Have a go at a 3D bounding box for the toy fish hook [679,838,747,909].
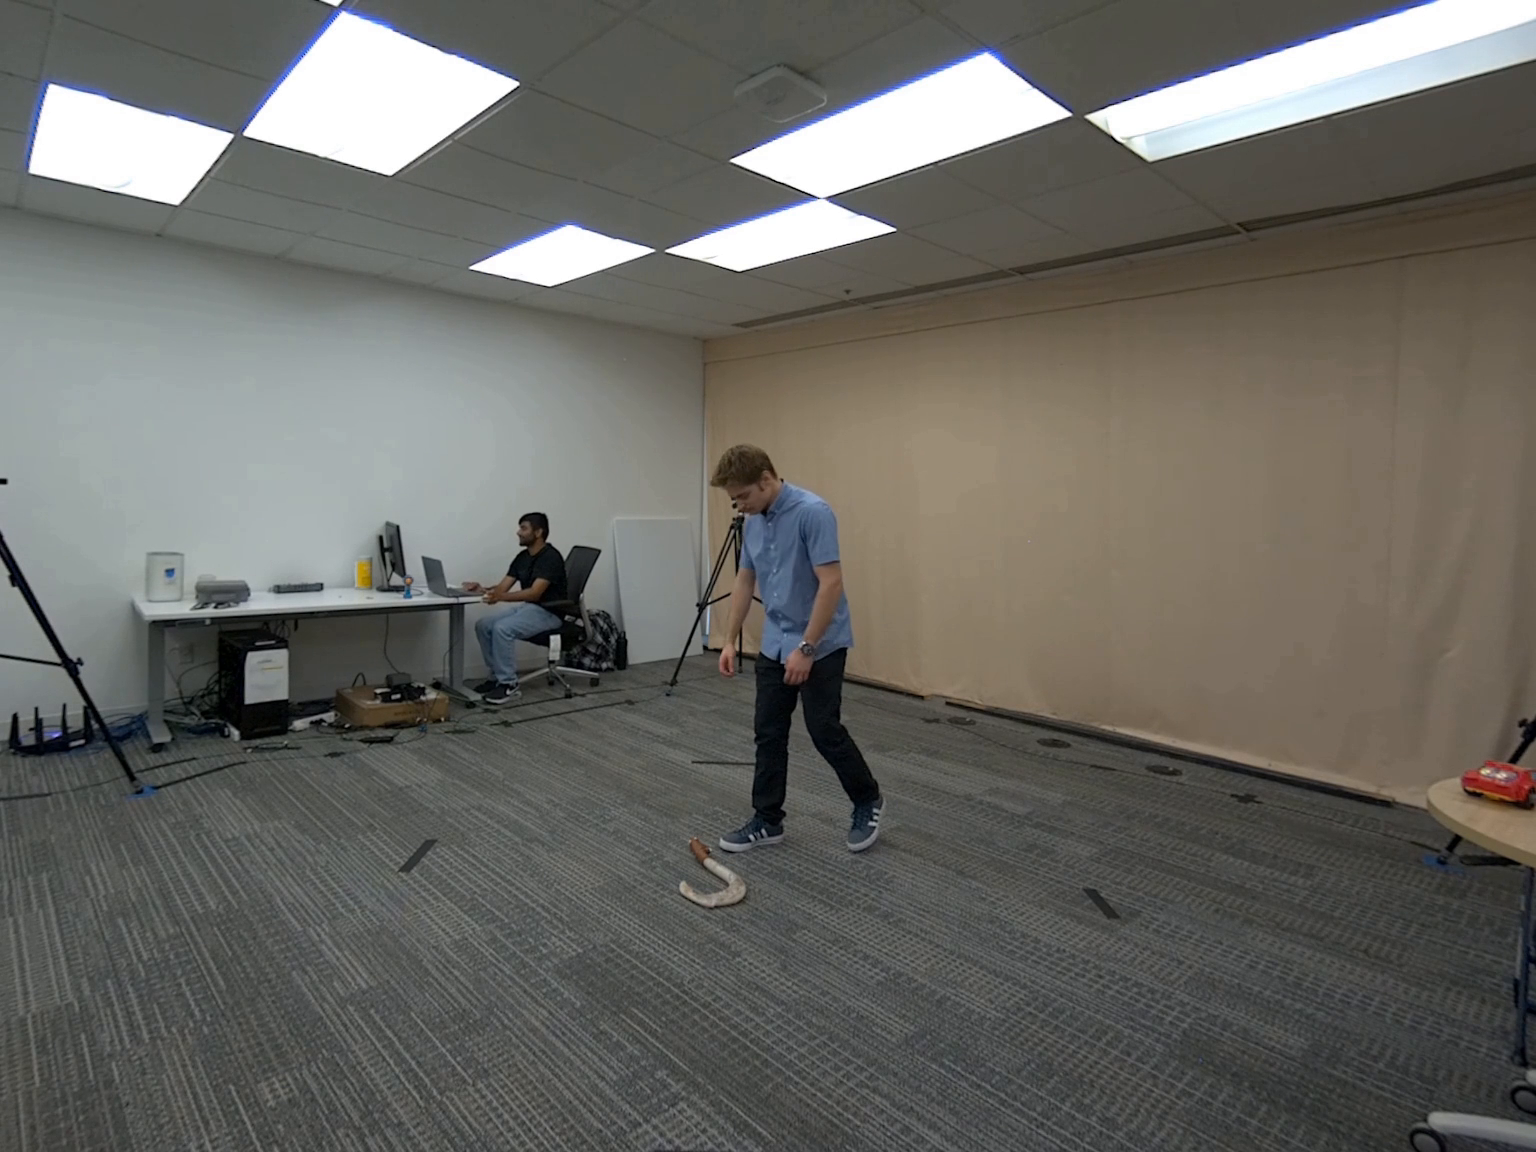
[{"bbox_3d":[-0.253,1.083,3.094,0.221,0.048,0.516,1,5,-22],"label":"toy fish hook"}]
